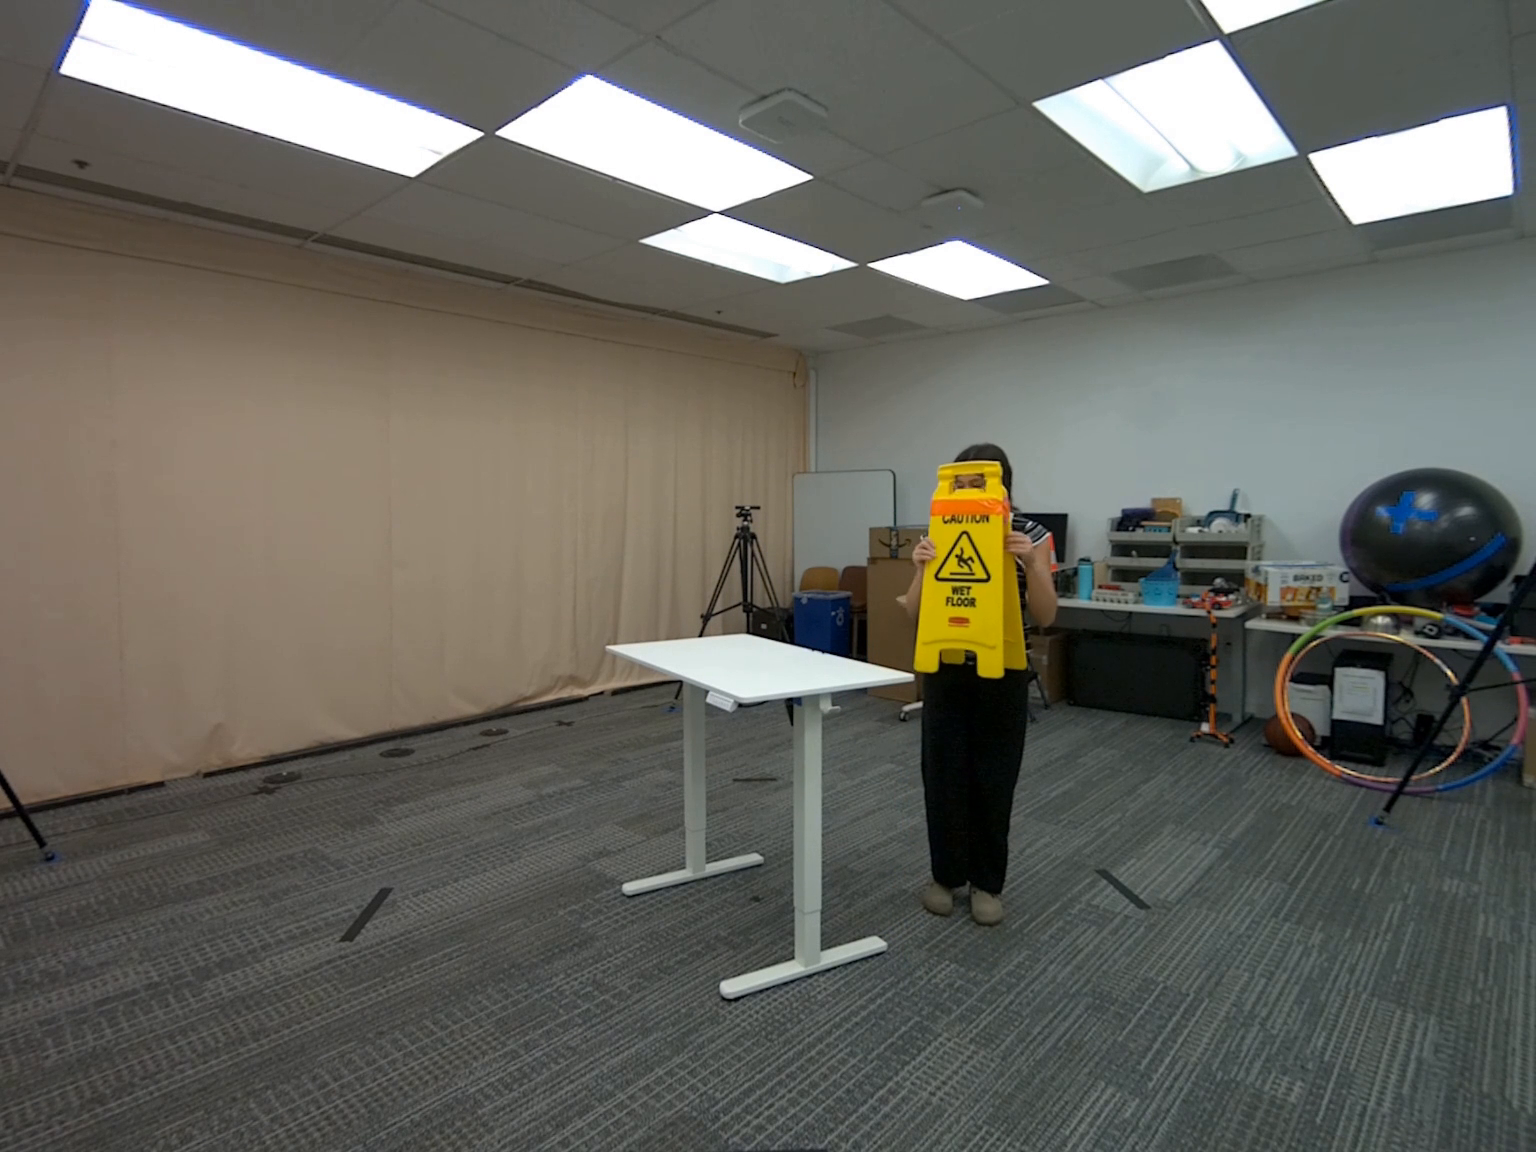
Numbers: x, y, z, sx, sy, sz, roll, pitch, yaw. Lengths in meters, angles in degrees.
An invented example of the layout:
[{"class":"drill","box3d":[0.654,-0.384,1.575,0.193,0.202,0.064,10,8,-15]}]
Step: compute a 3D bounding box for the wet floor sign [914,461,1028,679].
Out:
[{"class":"wet floor sign","box3d":[0.645,-0.026,2.657,0.291,0.646,0.281,1,1,35]}]
